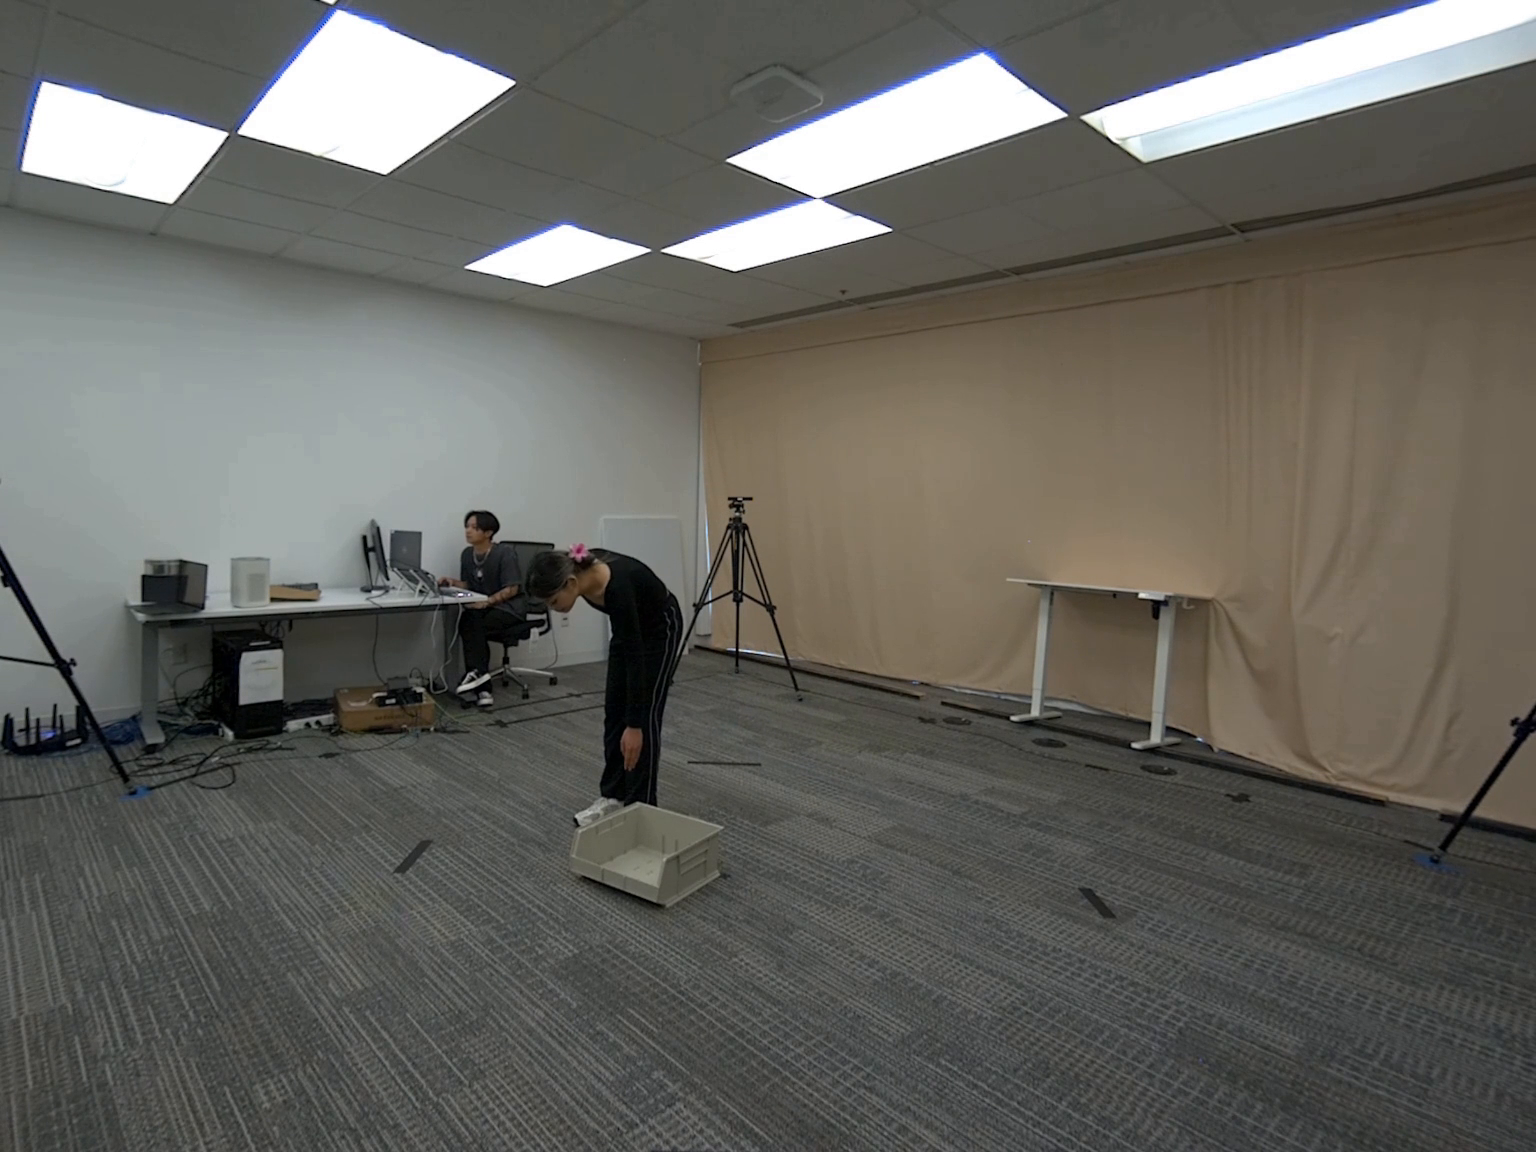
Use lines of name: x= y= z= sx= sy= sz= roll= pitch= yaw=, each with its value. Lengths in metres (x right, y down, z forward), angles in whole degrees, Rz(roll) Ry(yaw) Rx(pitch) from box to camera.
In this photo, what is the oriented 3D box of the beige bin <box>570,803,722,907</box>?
beige bin: x=-0.445 y=1.020 z=3.072 sx=0.432 sy=0.188 sz=0.369 roll=4 pitch=4 yaw=33
